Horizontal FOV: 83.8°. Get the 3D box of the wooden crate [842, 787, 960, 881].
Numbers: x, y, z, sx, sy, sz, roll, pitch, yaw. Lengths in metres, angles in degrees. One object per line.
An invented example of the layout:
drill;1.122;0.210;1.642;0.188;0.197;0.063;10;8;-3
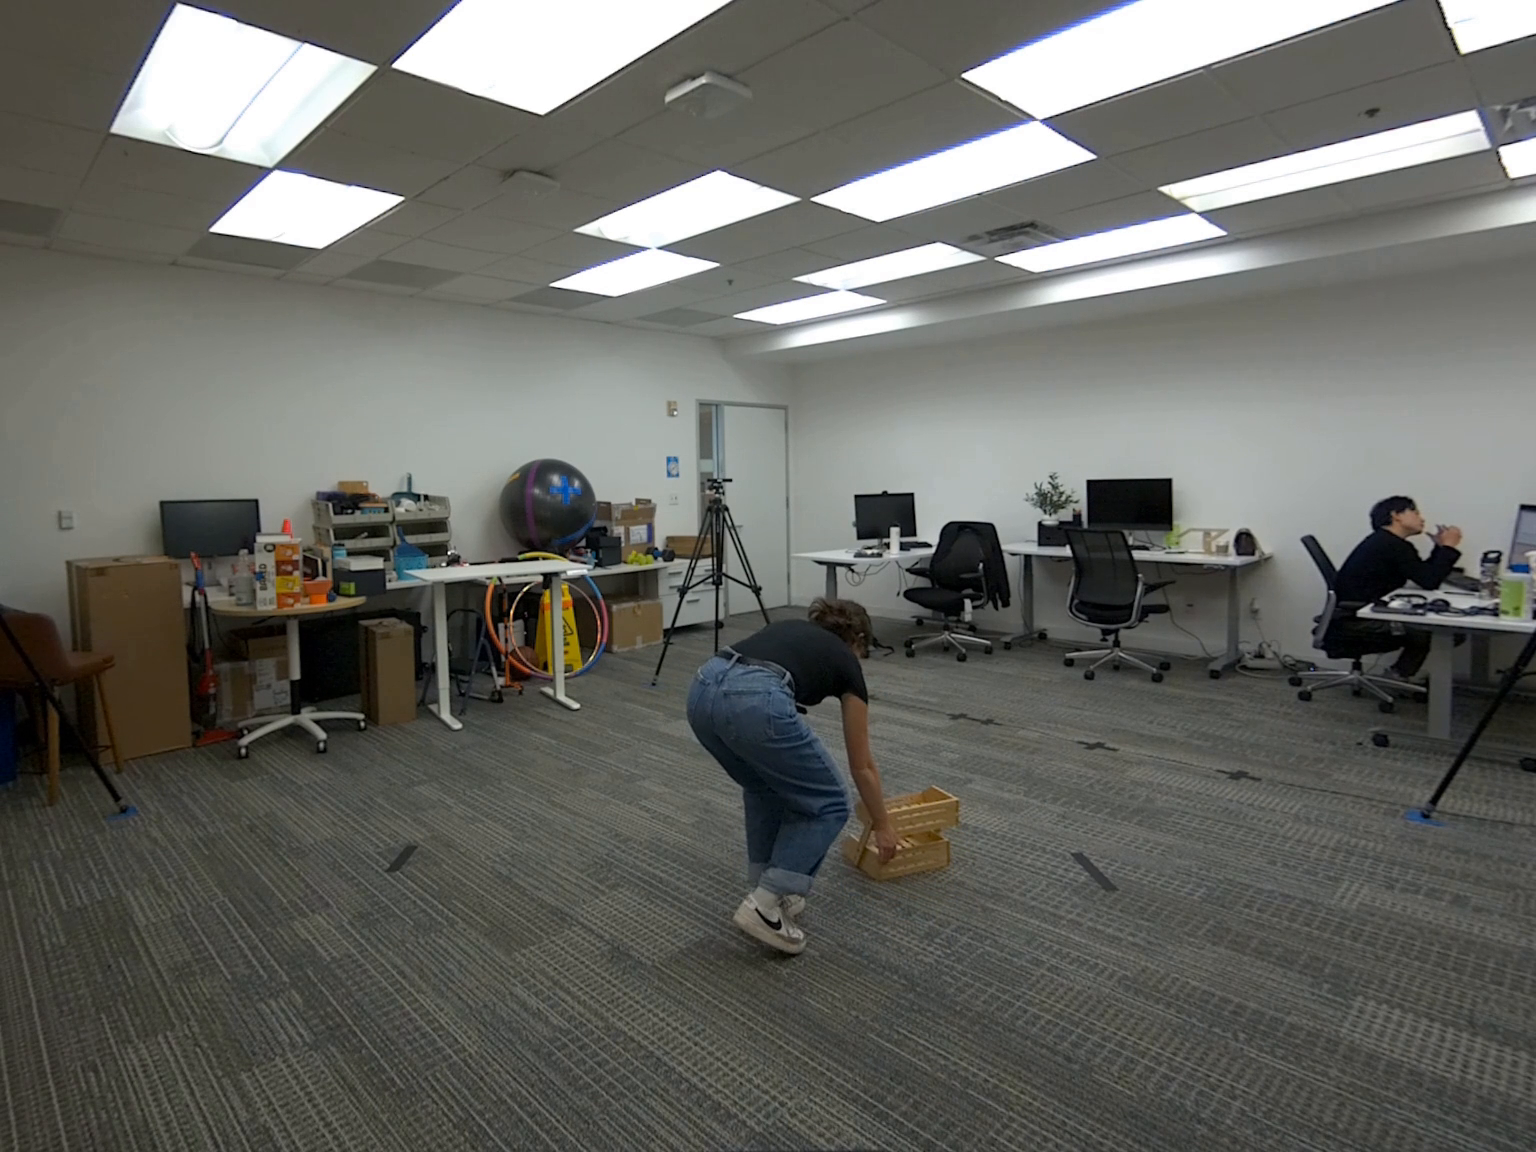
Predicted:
wooden crate;0.477;0.905;3.092;0.318;0.272;0.309;-4;5;-25
